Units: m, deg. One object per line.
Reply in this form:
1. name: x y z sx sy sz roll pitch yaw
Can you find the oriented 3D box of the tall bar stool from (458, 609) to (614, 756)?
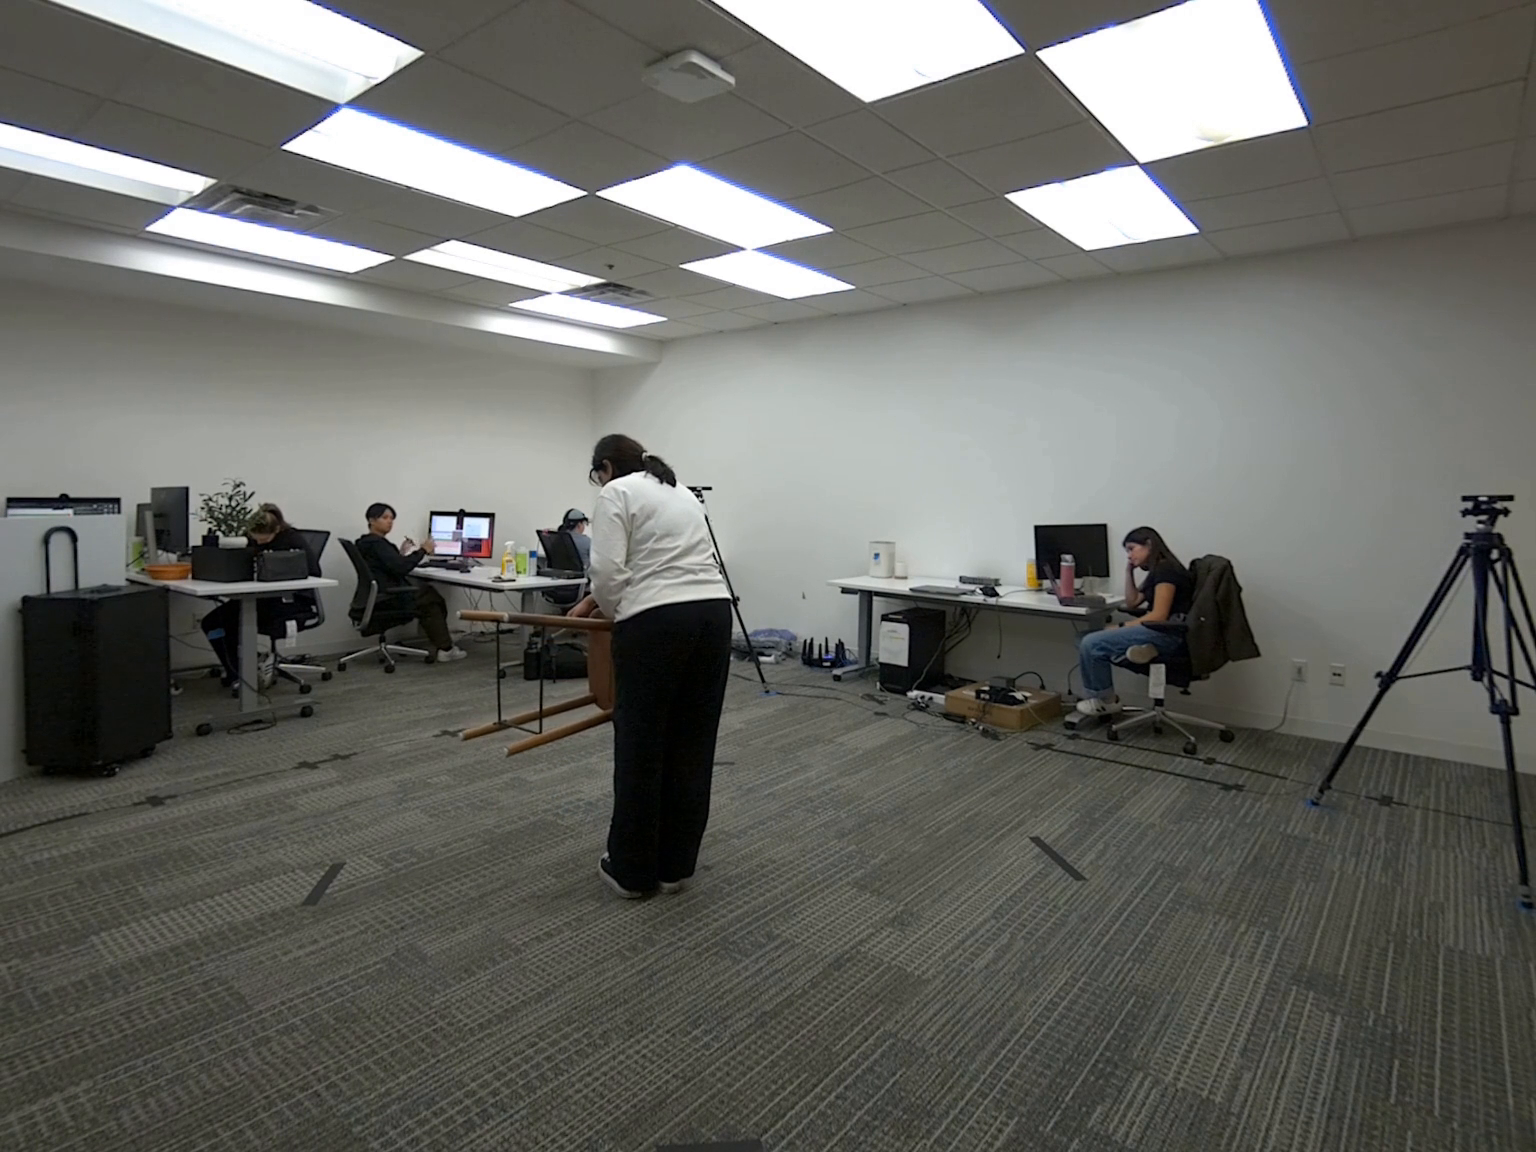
1. tall bar stool: -0.644 0.347 3.127 0.861 0.469 0.470 1 -3 -41
